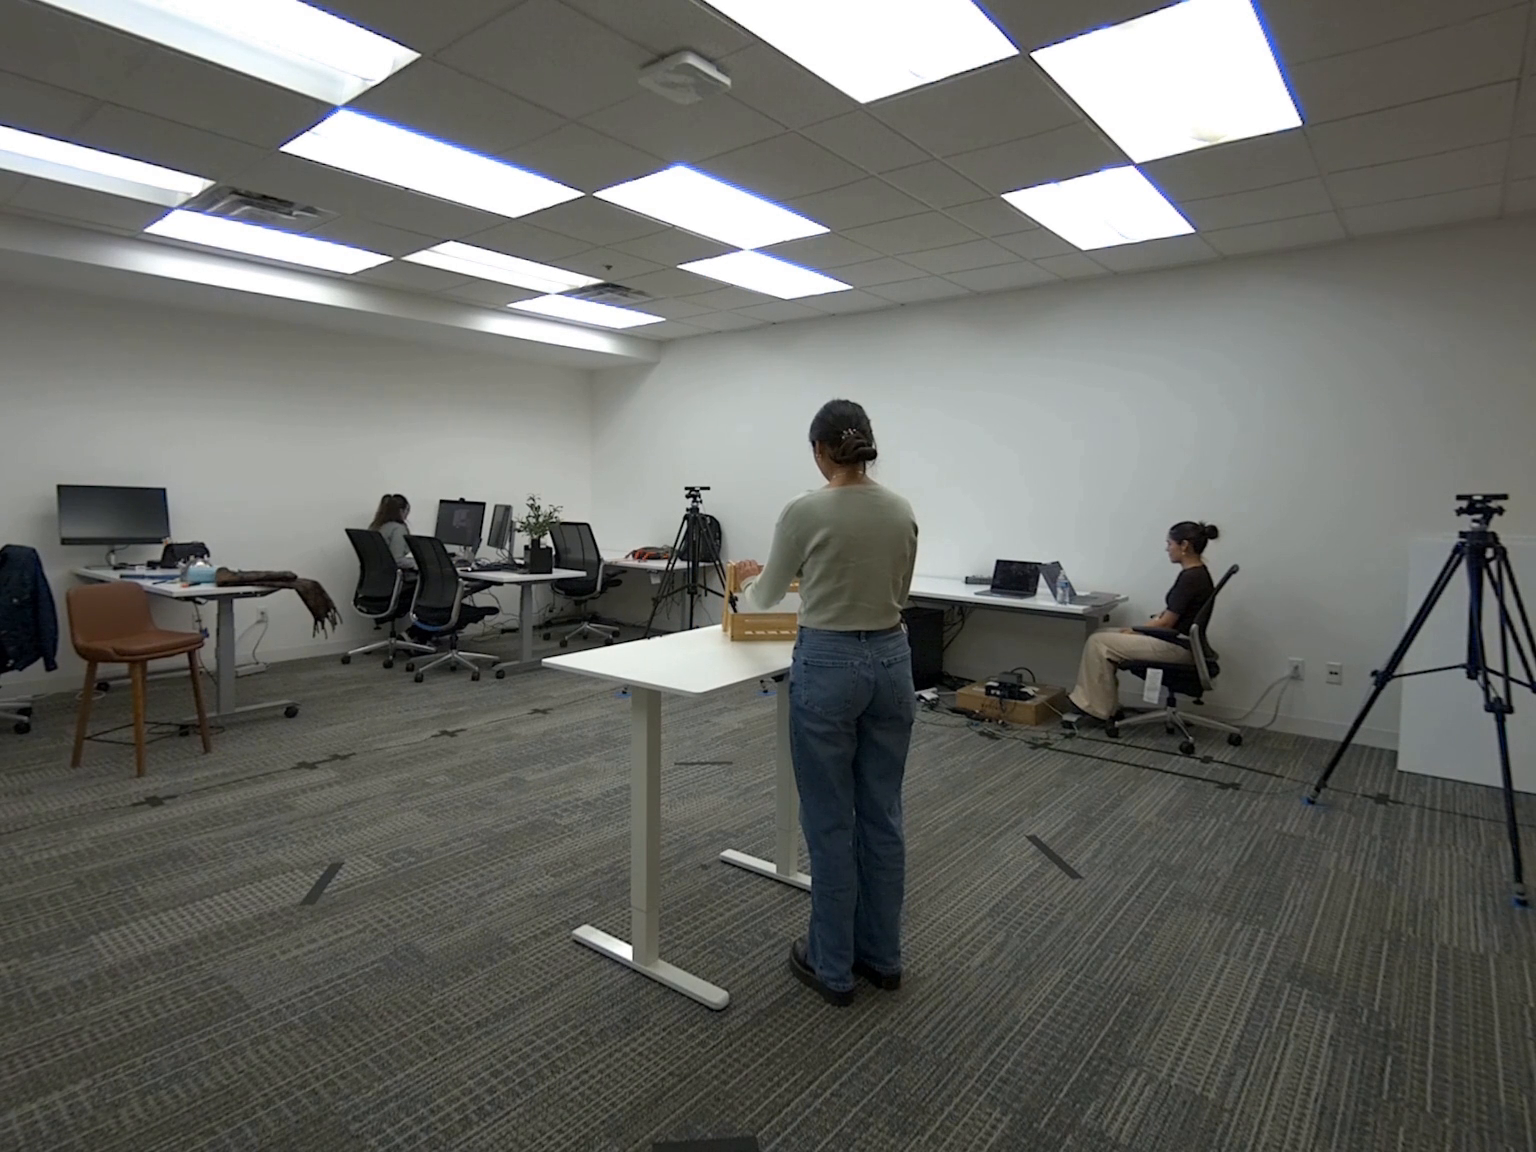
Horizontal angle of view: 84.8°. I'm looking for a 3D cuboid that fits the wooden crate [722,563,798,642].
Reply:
[{"bbox_3d":[0.002,0.074,2.913,0.322,0.272,0.306,0,5,-9],"label":"wooden crate"}]
